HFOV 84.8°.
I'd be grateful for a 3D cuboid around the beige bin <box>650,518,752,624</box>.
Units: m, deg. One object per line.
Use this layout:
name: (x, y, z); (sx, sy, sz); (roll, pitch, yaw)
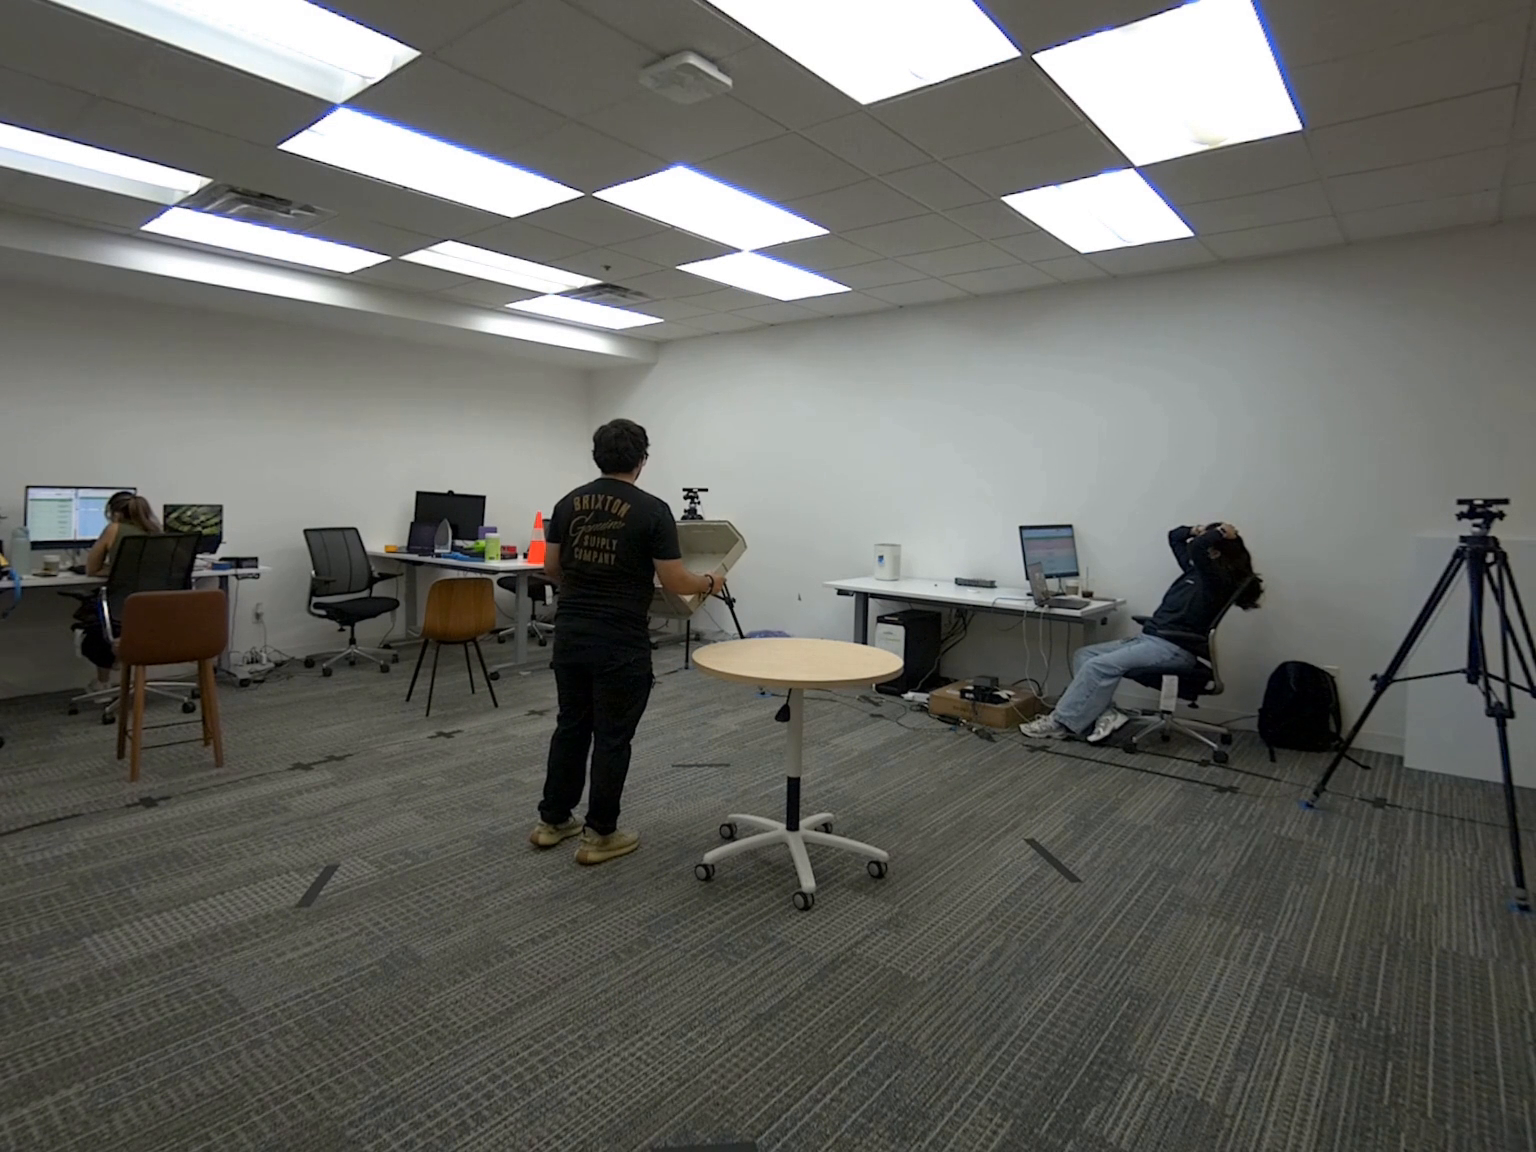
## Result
beige bin: (-0.358, -0.029, 3.547); (0.389, 0.182, 0.424); (0, 42, 43)
